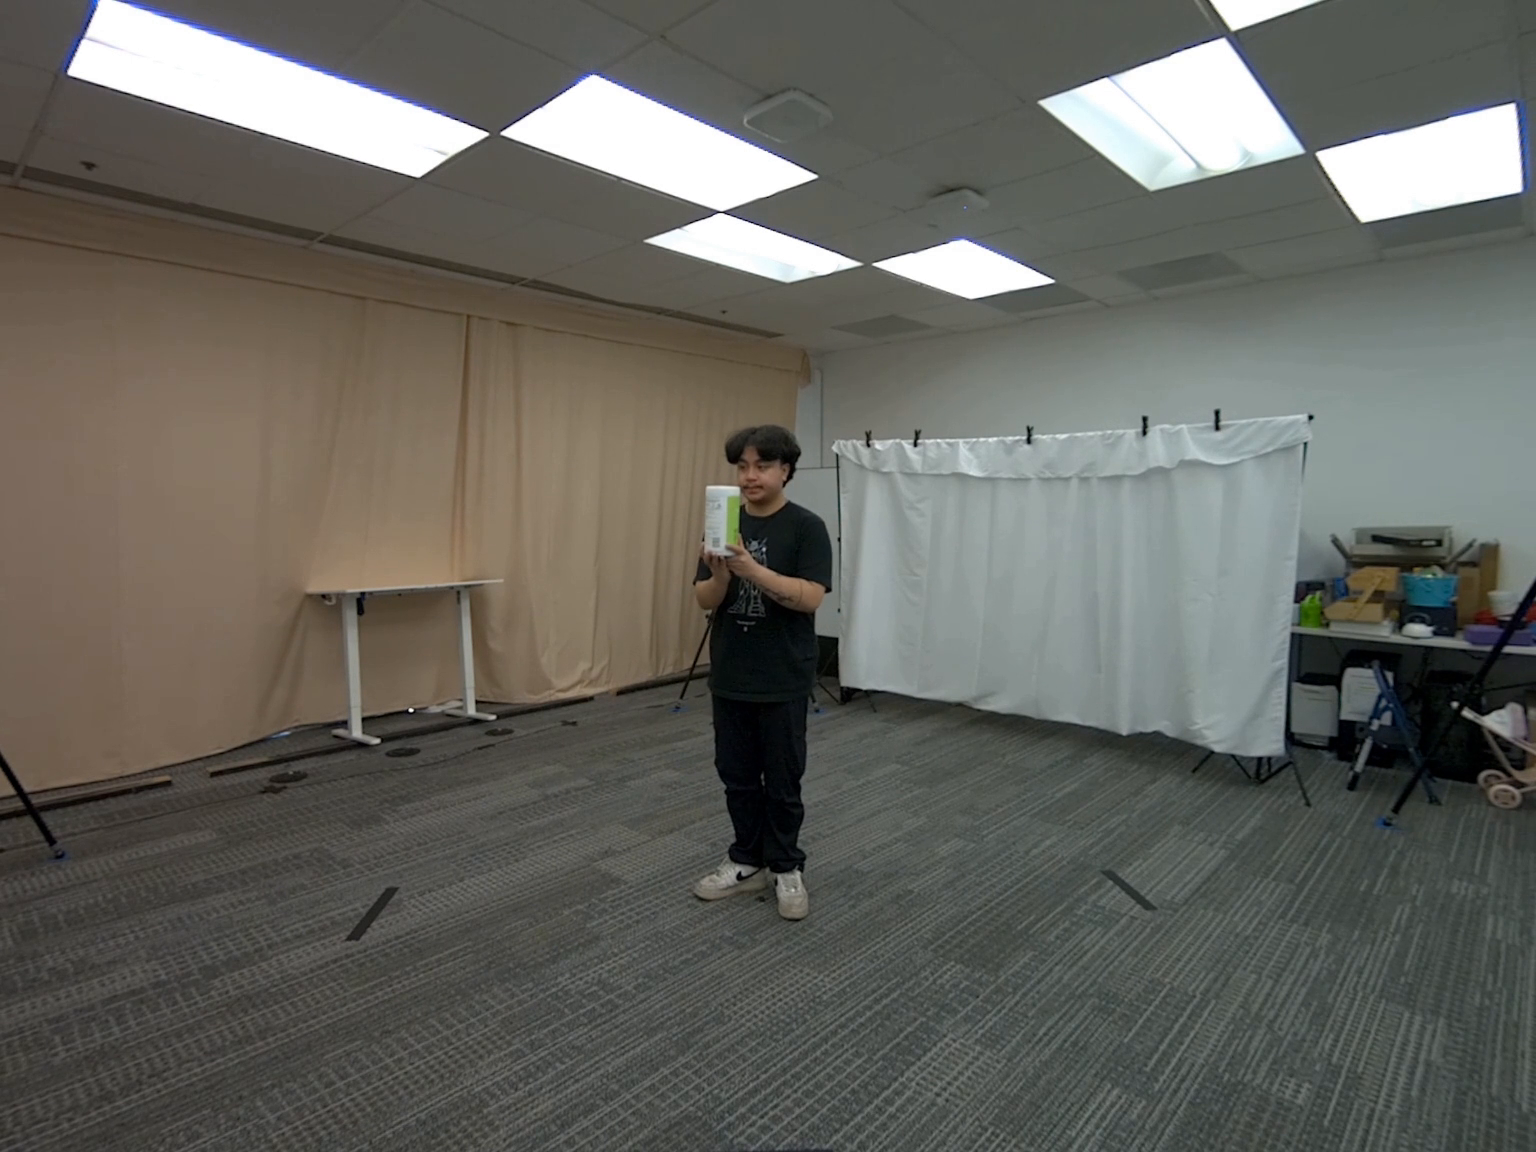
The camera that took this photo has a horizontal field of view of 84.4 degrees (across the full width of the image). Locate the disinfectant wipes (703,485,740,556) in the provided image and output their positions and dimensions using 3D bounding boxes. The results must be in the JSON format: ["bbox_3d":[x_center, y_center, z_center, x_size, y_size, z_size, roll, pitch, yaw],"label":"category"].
[{"bbox_3d":[-0.144,-0.172,2.647,0.117,0.216,0.118,3,7,-2],"label":"disinfectant wipes"}]
